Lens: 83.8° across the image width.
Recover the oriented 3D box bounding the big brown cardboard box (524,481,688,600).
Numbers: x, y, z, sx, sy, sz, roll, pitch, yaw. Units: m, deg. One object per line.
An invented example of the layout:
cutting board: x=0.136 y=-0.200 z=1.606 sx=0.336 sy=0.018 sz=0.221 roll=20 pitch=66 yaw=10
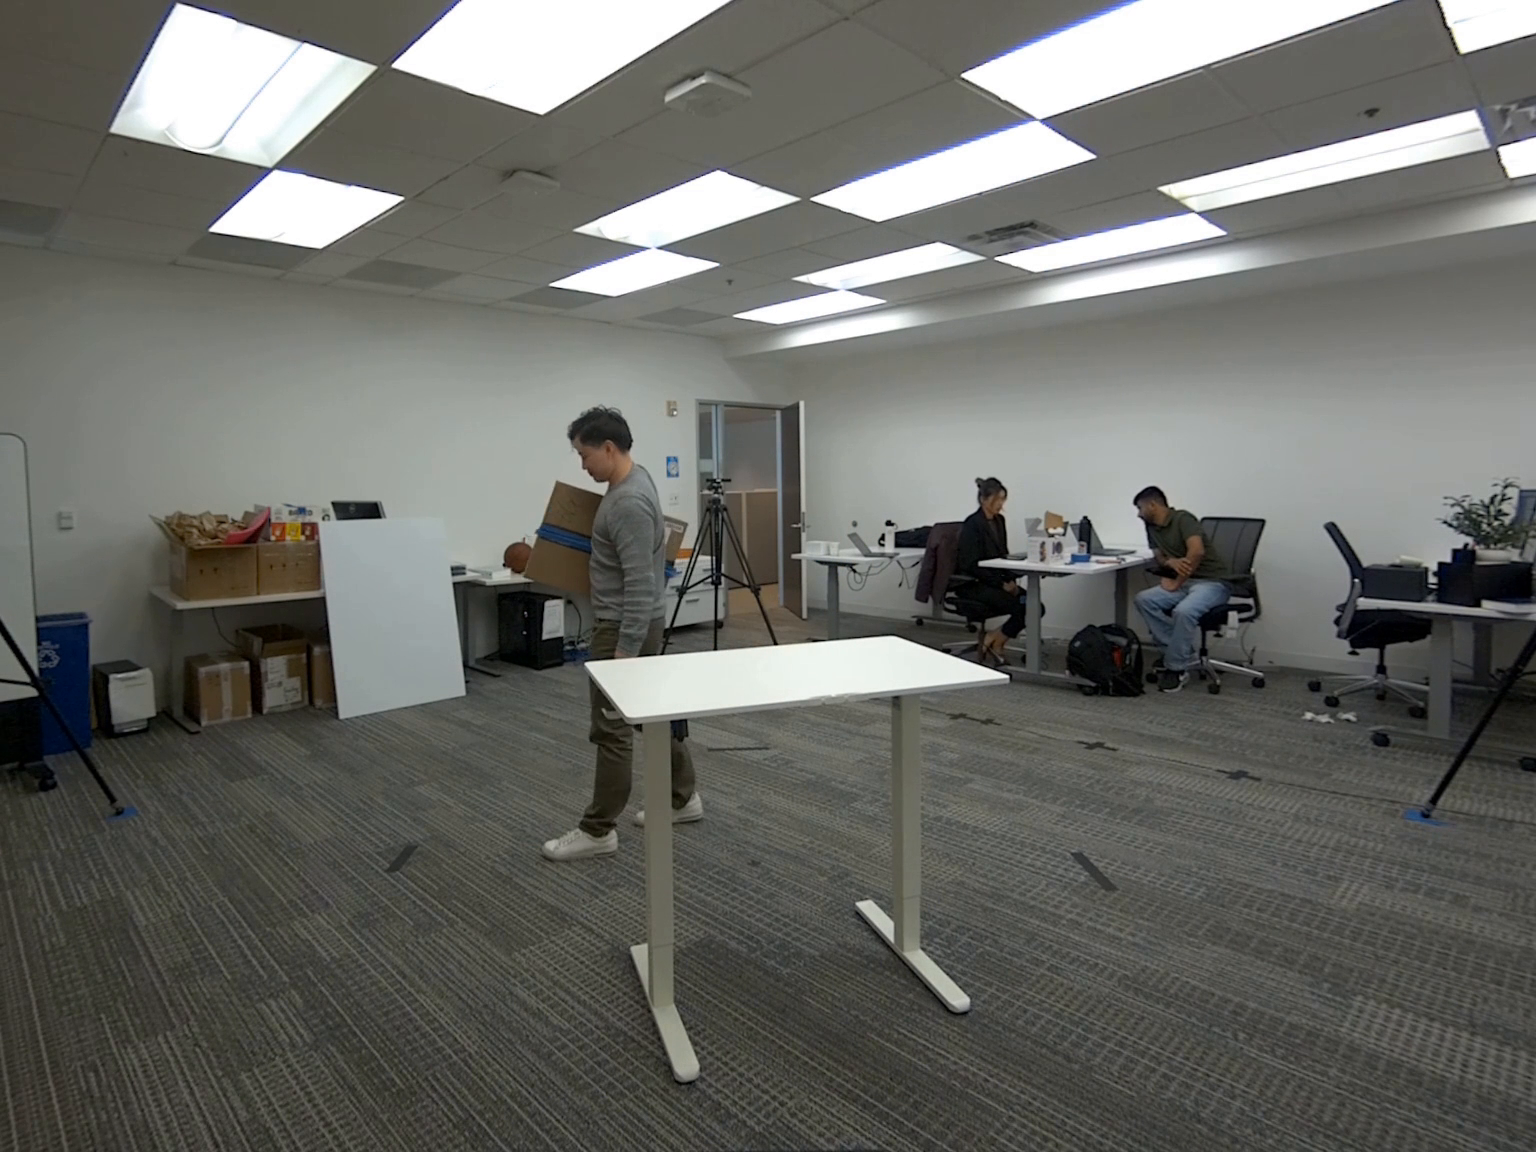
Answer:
big brown cardboard box: x=-0.675 y=-0.113 z=3.584 sx=0.582 sy=0.417 sz=0.236 roll=17 pitch=2 yaw=-9
